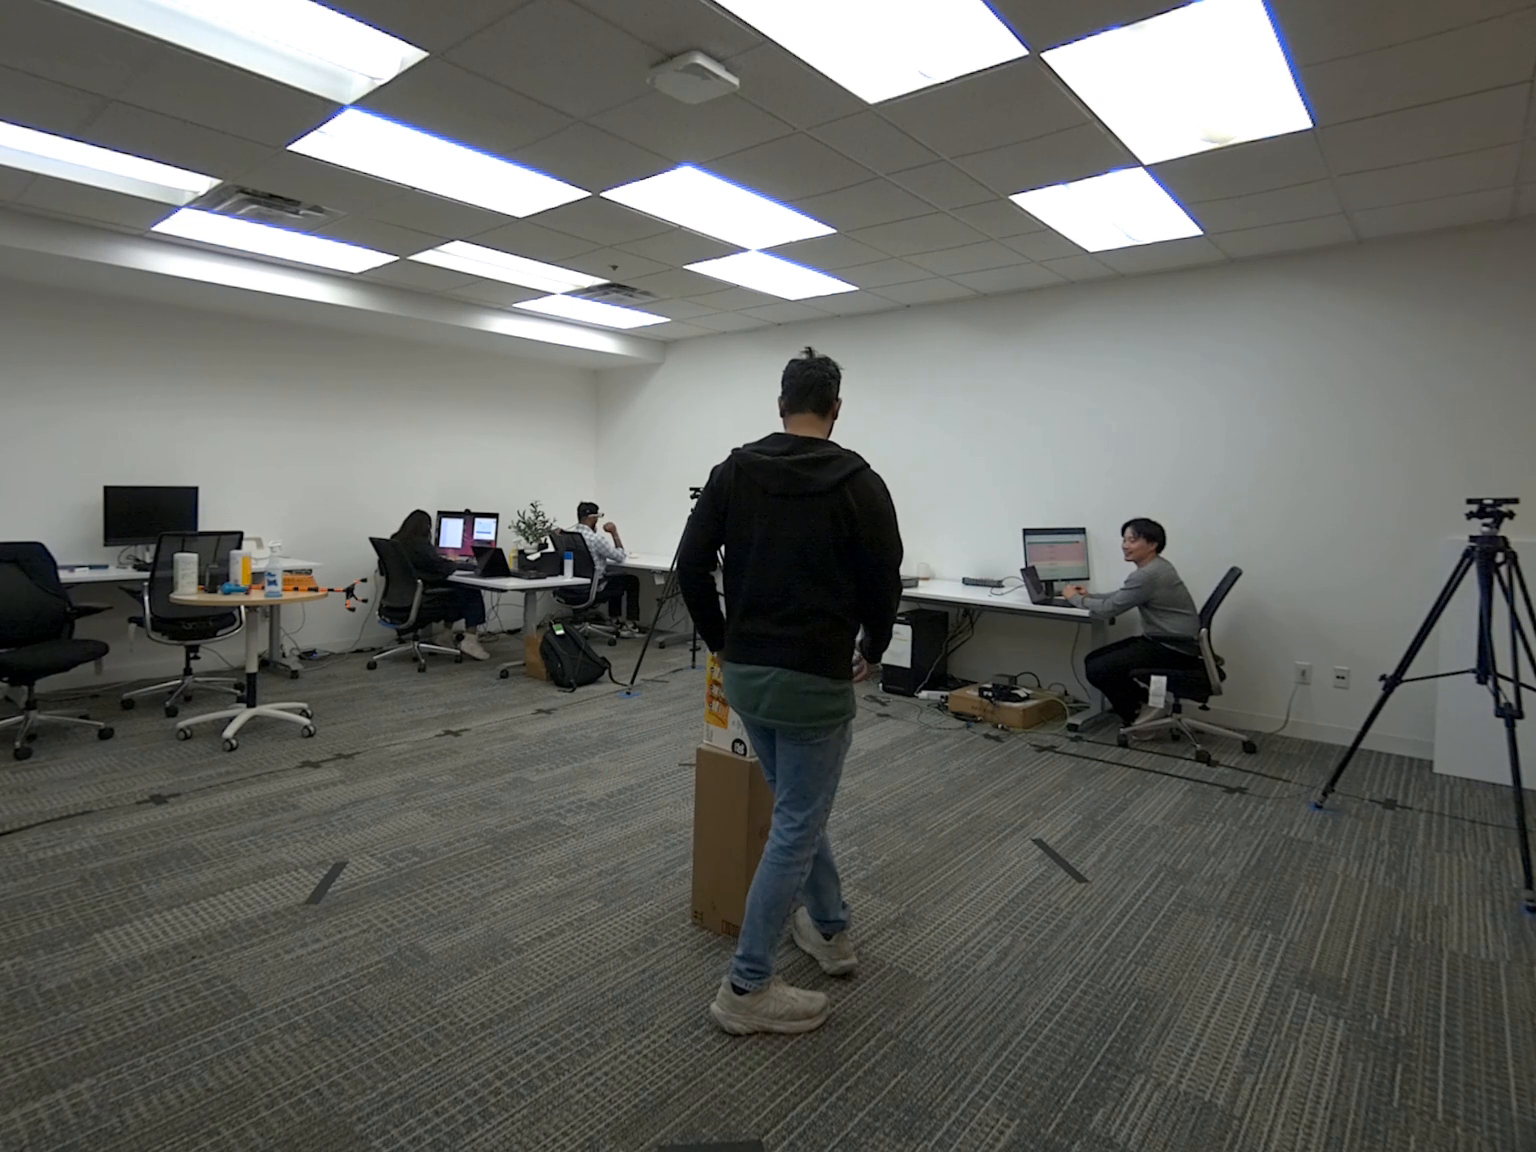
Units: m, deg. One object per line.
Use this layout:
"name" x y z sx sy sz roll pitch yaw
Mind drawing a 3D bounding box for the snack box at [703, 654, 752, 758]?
"snack box" -0.026 0.332 2.773 0.213 0.404 0.330 6 6 42
